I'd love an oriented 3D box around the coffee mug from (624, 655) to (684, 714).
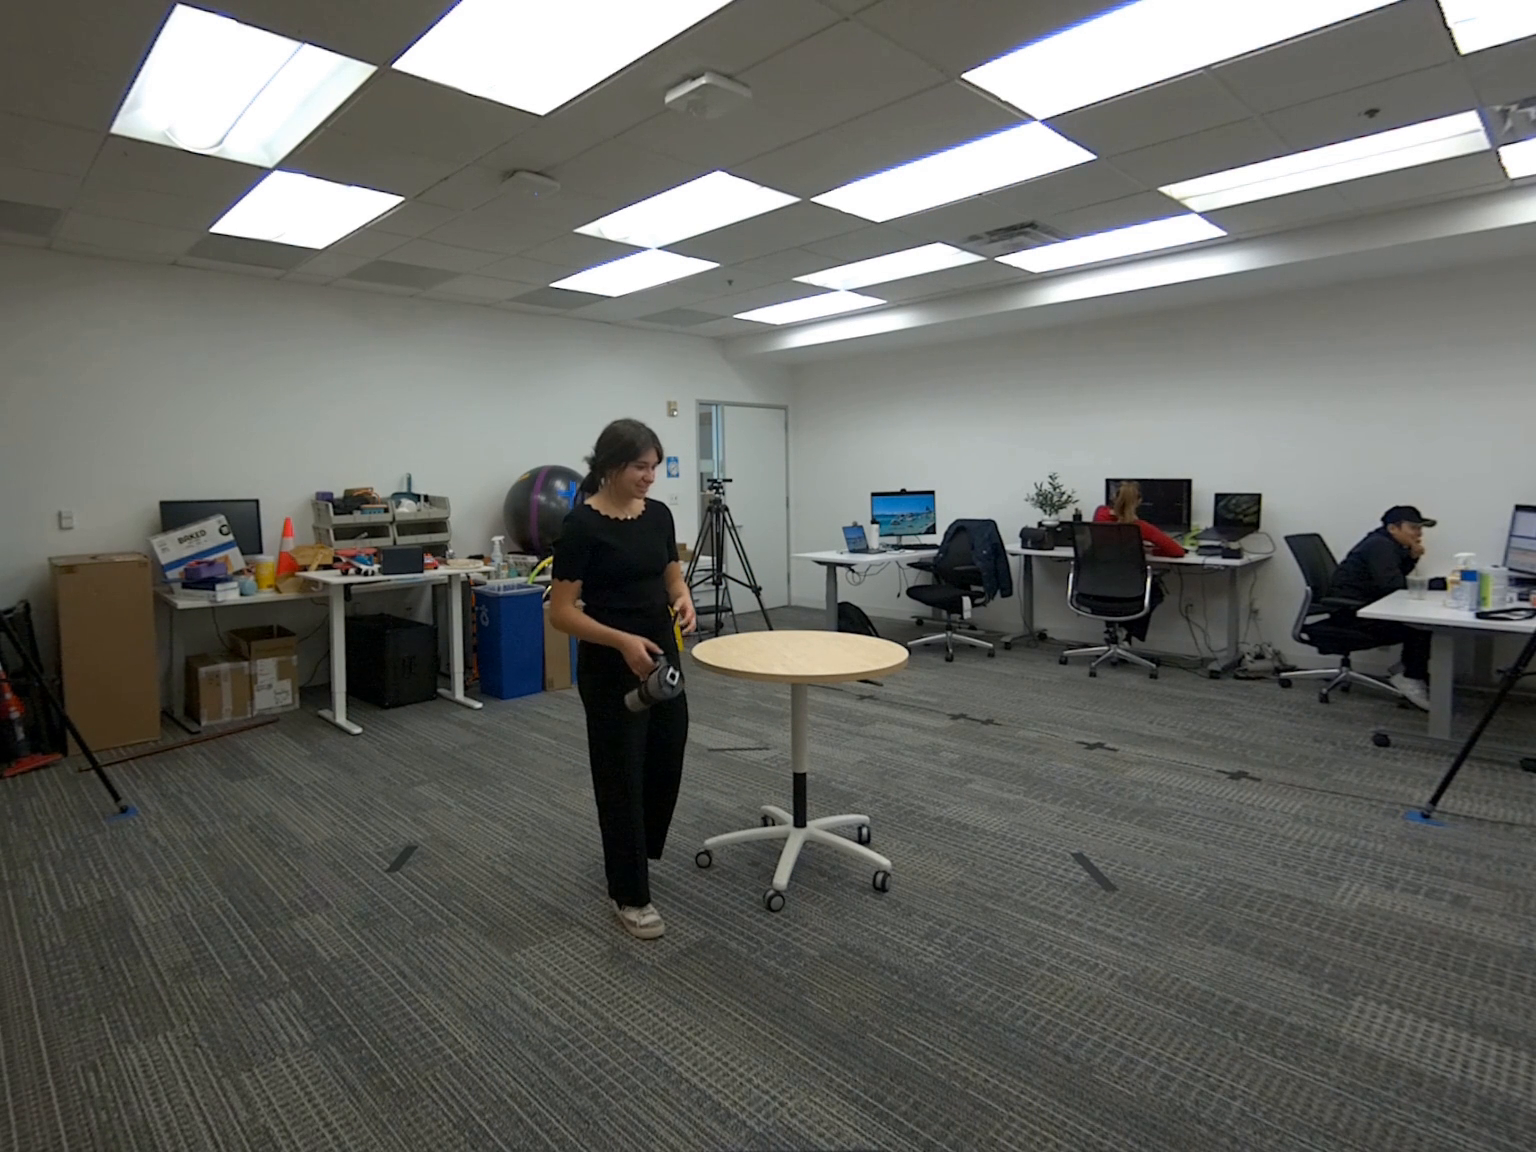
[{"bbox_3d":[-0.341,0.312,2.462,0.085,0.125,0.204,6,-29,-38],"label":"coffee mug"}]
